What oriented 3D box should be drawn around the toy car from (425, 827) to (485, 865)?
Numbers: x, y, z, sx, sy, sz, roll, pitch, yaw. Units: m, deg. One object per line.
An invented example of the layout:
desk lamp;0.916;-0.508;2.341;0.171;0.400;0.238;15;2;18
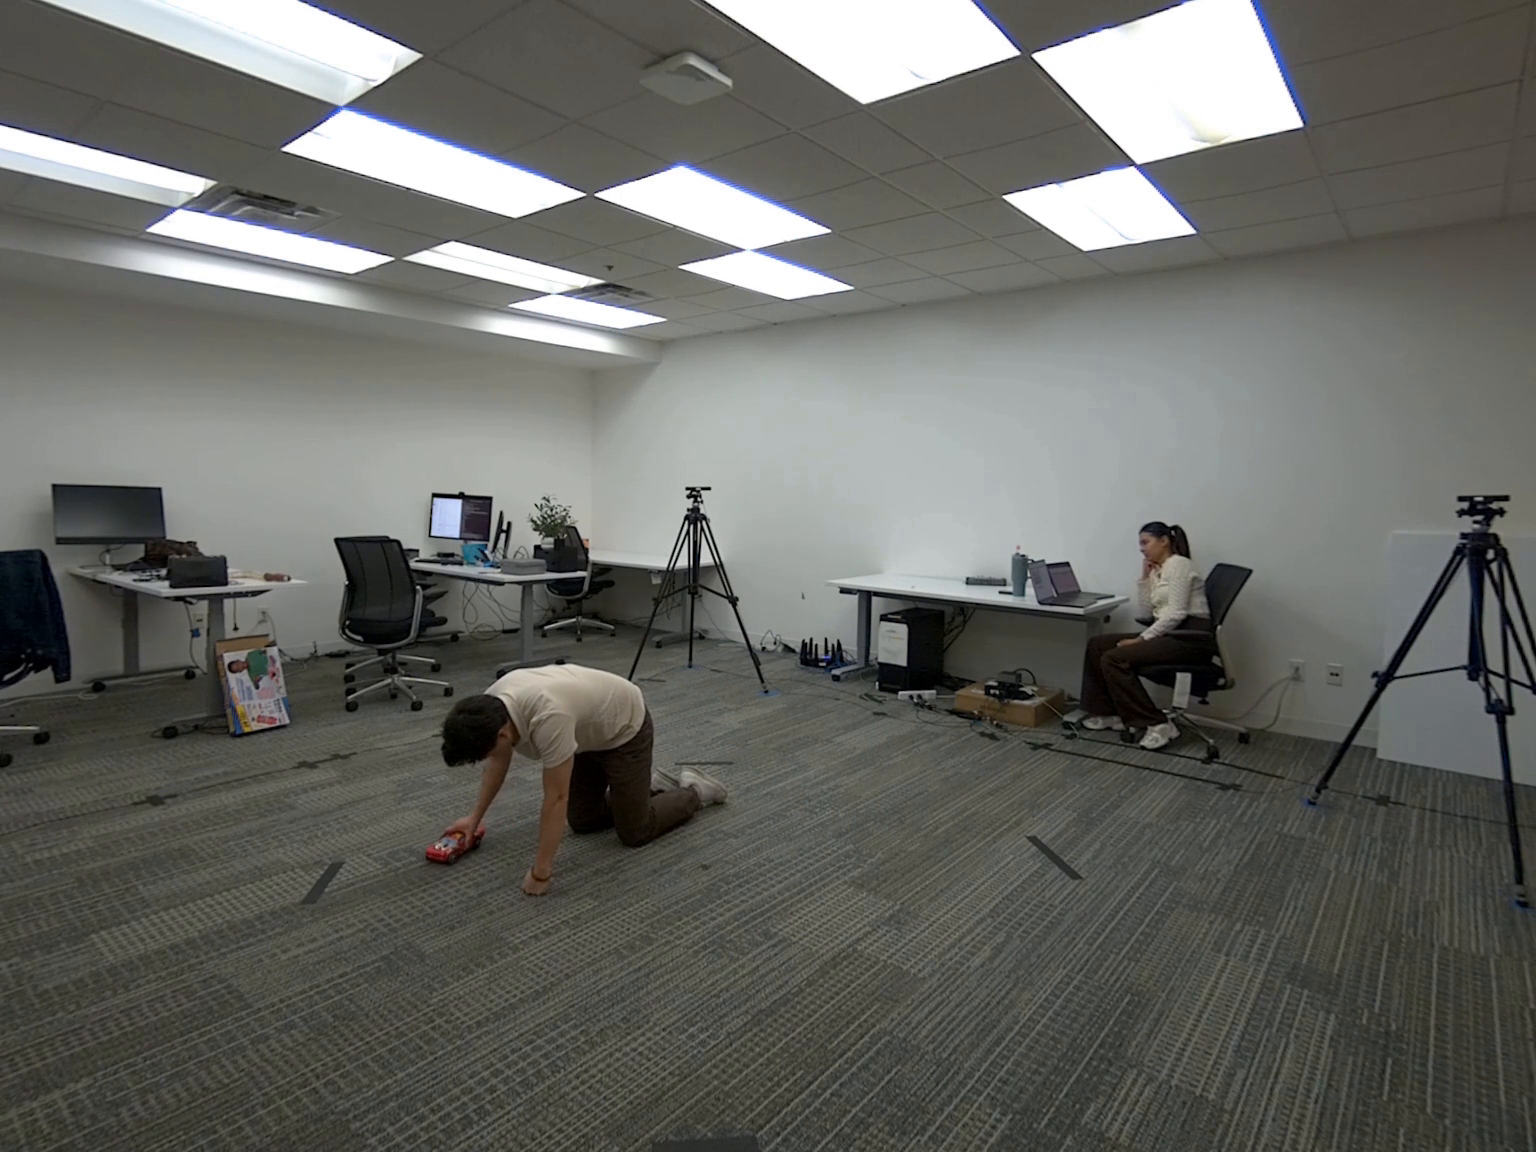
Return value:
toy car;-1.195;1.013;3.221;0.133;0.082;0.253;2;15;18
